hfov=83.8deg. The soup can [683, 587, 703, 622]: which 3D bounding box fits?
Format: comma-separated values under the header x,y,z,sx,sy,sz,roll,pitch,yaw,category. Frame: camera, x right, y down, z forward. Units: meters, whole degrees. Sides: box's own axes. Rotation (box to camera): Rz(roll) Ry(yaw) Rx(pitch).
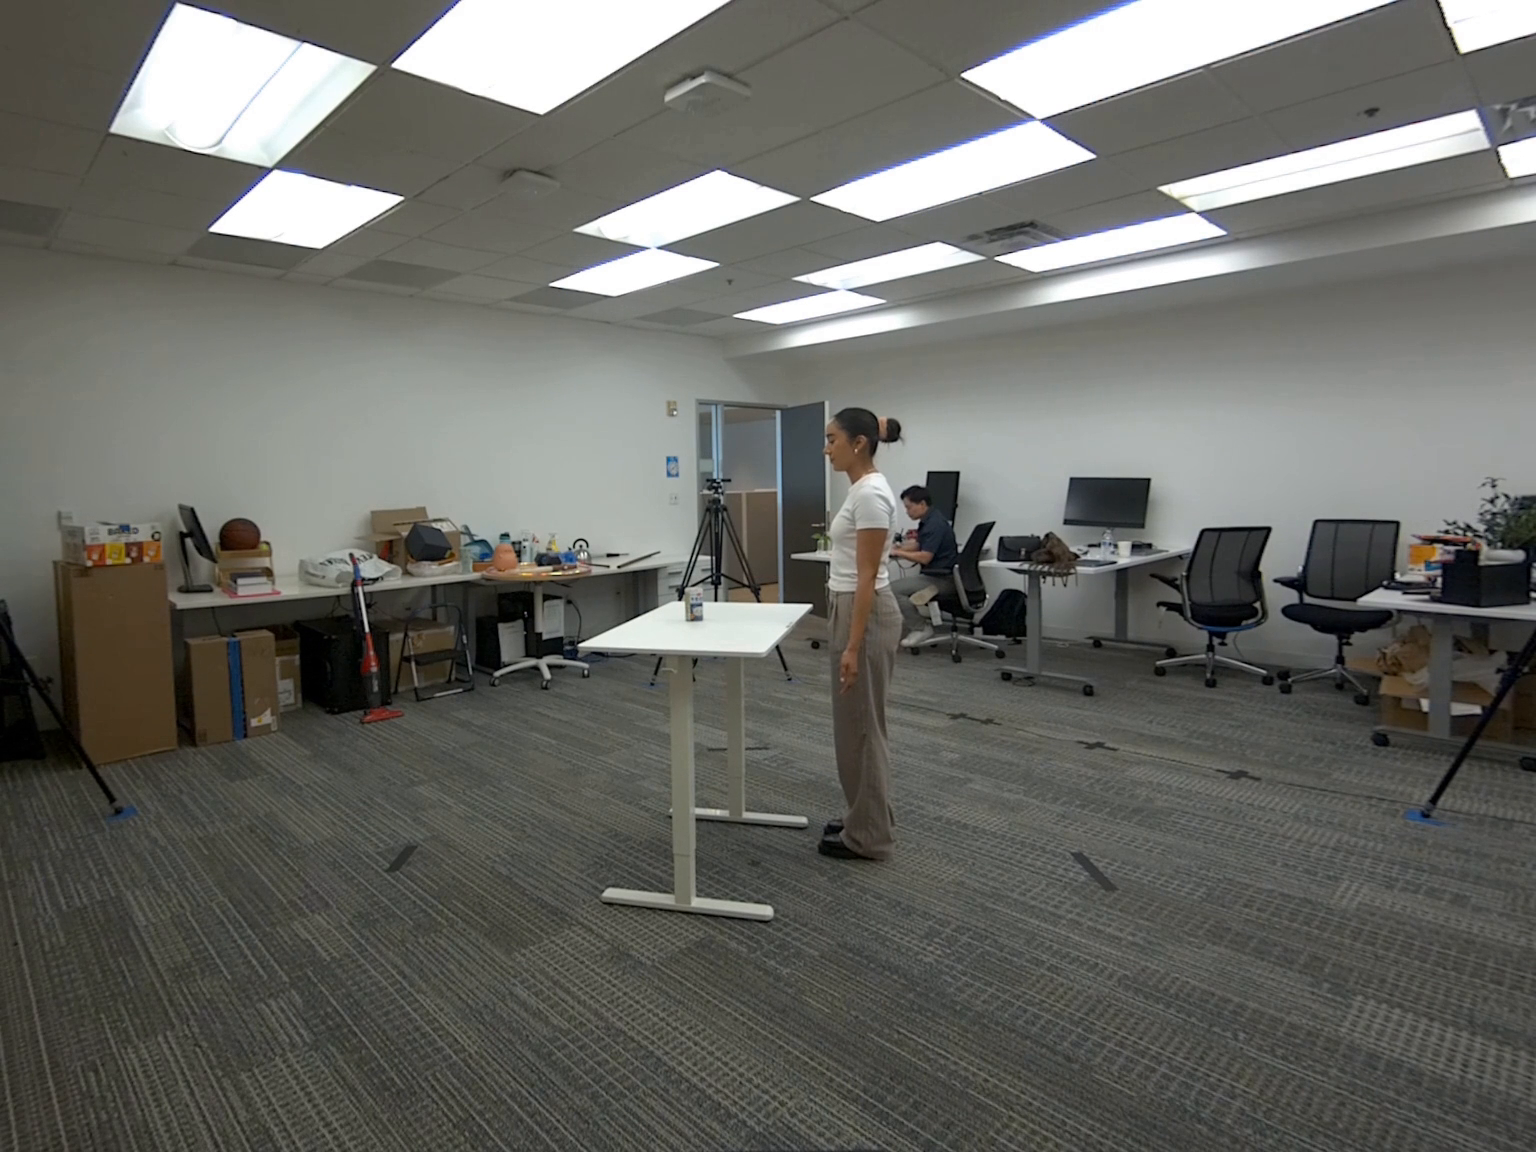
x,y,z,sx,sy,sz,roll,pitch,yaw,category
-0.266,0.102,3.136,0.067,0.120,0.068,1,10,-2,soup can
